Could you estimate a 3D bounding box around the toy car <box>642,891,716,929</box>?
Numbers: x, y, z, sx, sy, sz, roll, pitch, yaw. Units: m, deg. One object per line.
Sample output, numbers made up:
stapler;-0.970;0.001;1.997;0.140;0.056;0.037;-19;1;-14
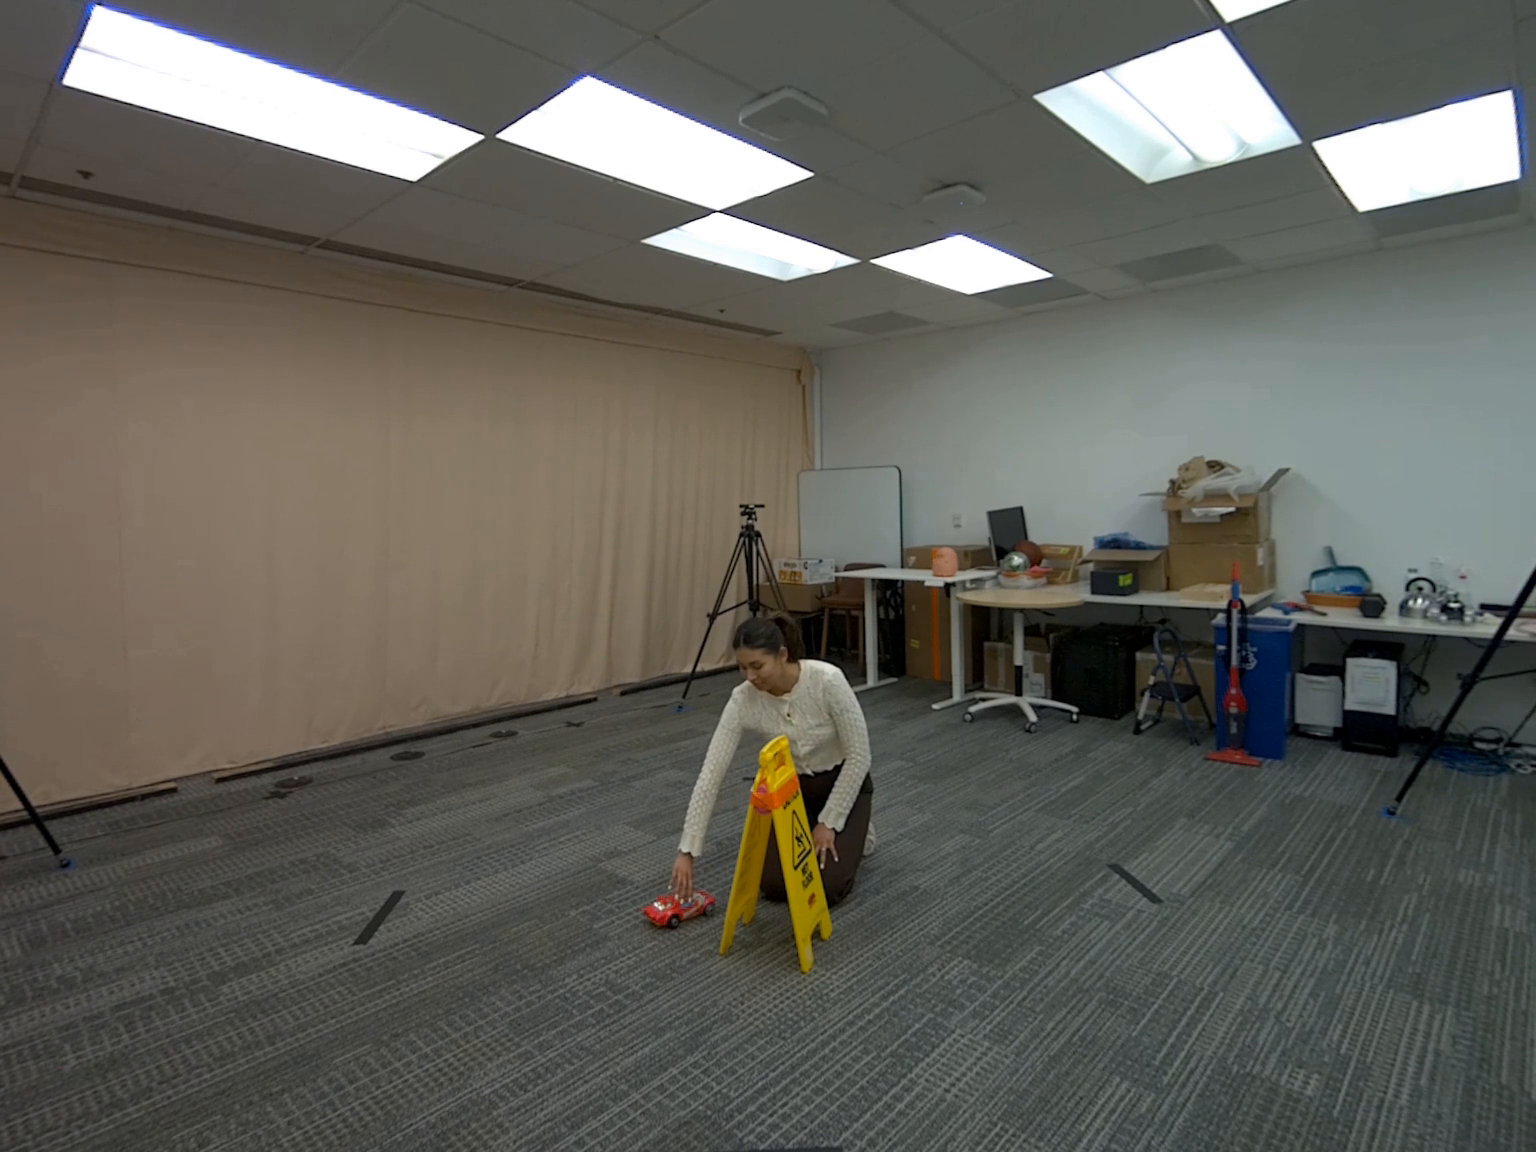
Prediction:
toy car;-0.305;1.125;2.846;0.247;0.083;0.134;7;-1;-33
